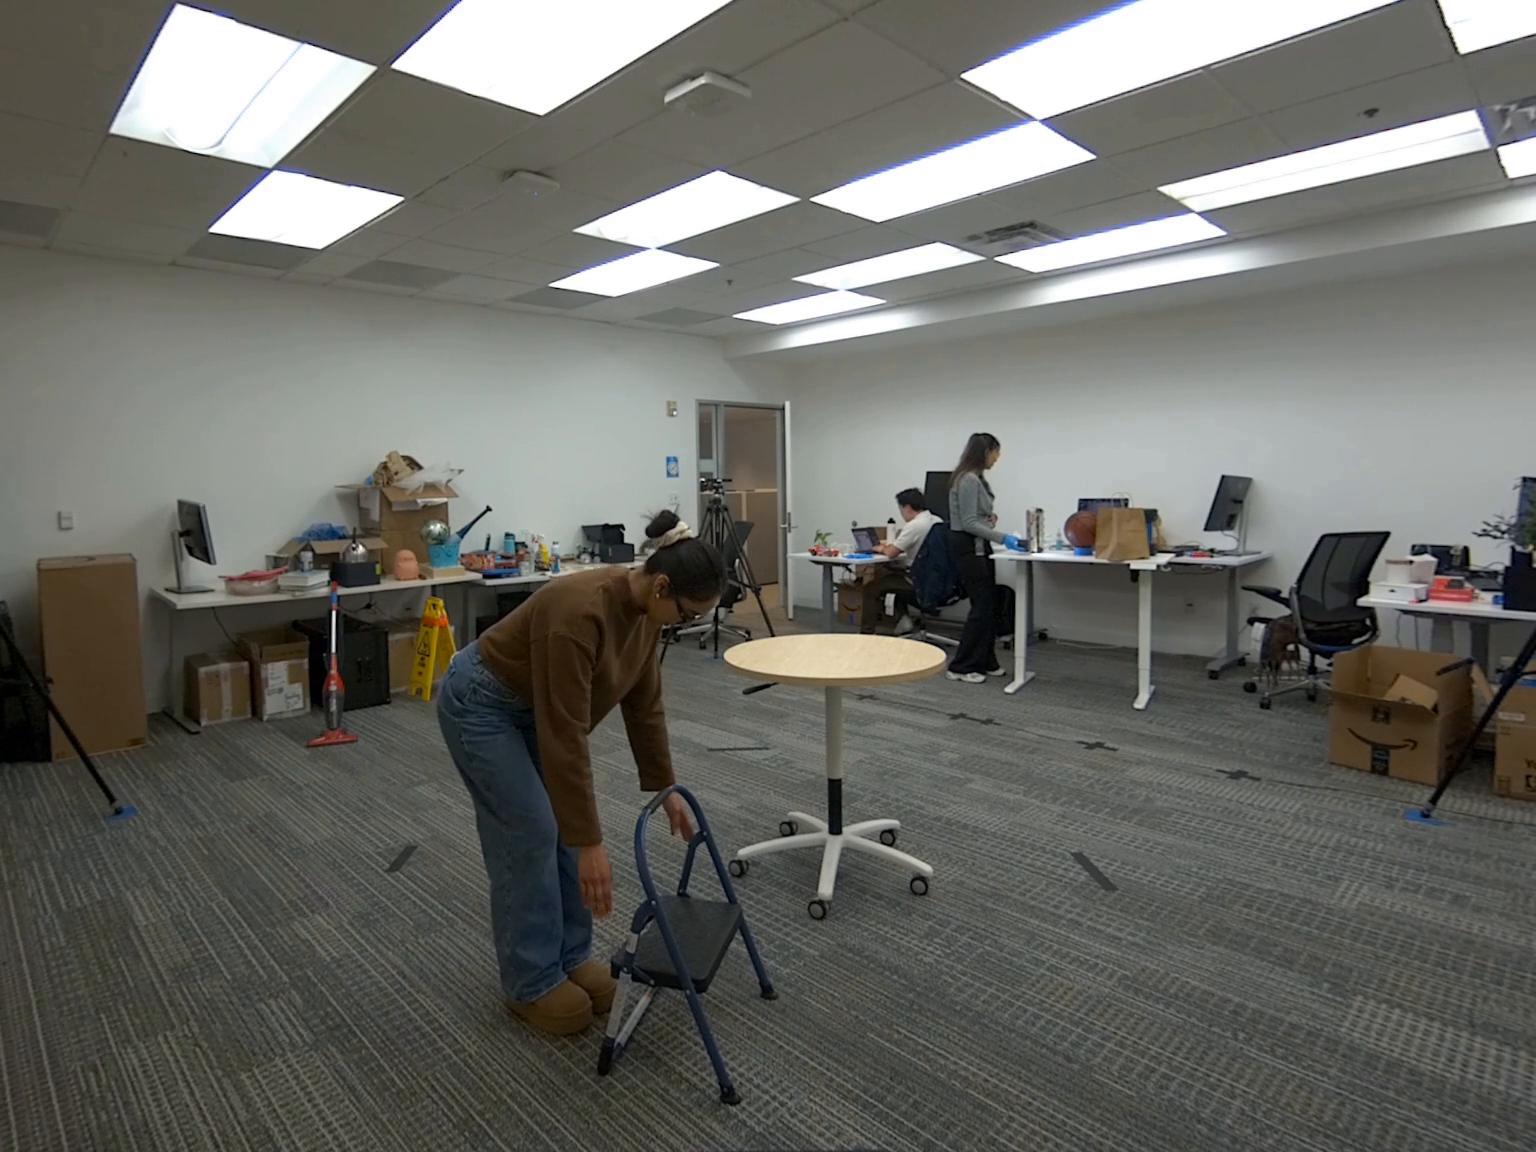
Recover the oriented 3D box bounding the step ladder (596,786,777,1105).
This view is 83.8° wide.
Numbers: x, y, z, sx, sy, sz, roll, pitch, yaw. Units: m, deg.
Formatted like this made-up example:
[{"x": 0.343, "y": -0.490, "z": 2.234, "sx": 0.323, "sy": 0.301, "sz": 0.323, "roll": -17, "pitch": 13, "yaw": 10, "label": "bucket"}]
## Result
[{"x": -0.195, "y": 0.858, "z": 2.146, "sx": 0.354, "sy": 0.604, "sz": 0.426, "roll": 0, "pitch": 4, "yaw": 14, "label": "step ladder"}]
